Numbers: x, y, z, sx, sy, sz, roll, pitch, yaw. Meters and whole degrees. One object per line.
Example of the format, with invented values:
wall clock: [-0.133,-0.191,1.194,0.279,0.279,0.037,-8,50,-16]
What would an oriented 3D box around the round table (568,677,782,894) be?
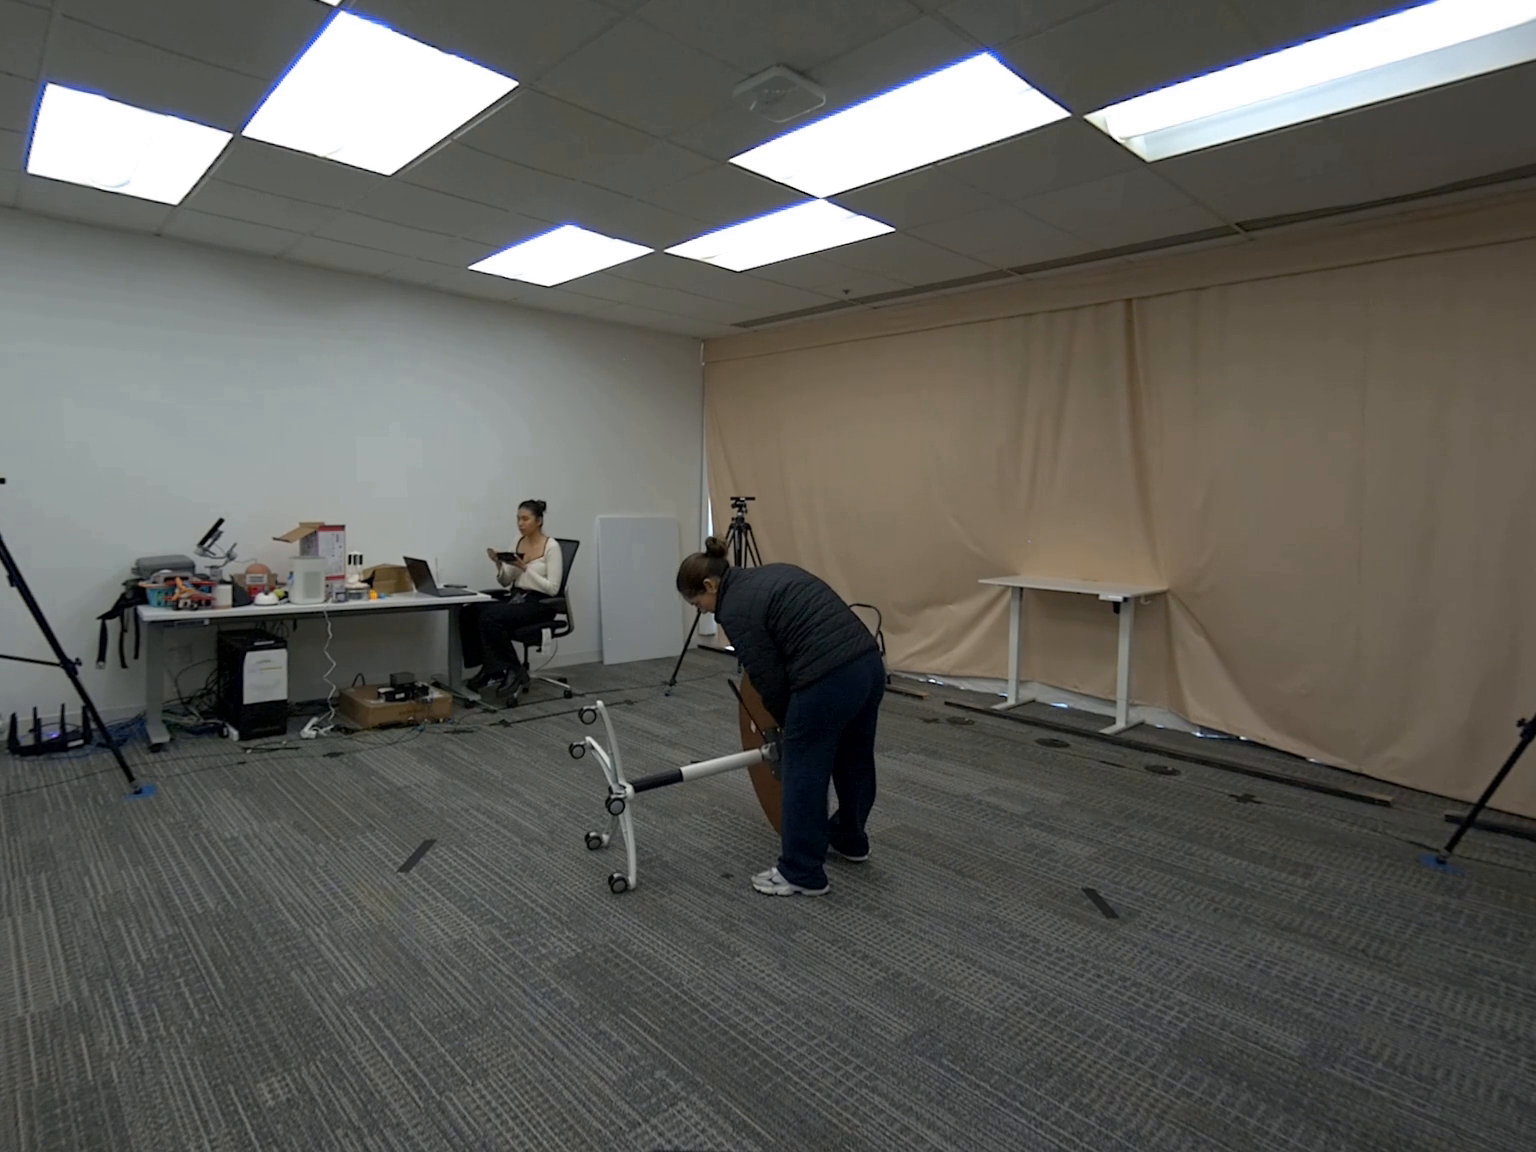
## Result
round table: [-0.301,0.757,3.237,0.774,0.781,0.802,-9,8,-25]
